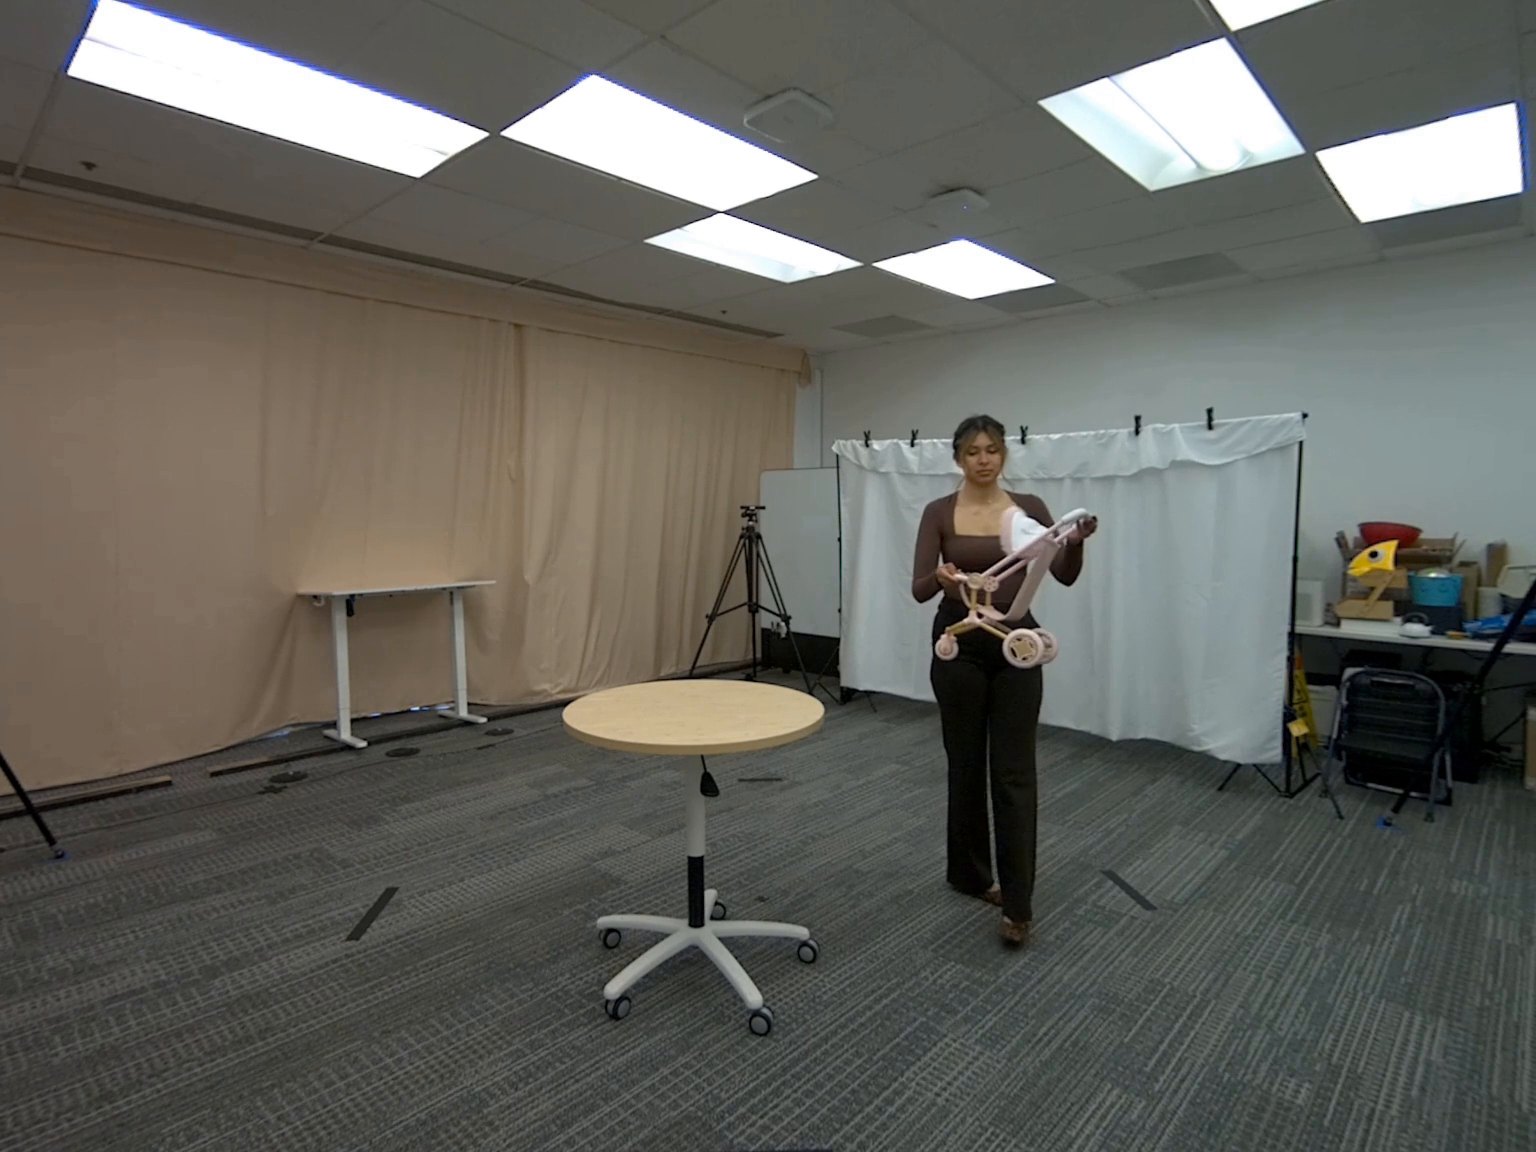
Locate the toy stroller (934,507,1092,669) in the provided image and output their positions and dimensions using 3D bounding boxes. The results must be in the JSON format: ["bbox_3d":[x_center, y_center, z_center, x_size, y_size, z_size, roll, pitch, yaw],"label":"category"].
[{"bbox_3d":[0.722,0.035,2.530,0.353,0.534,0.273,15,5,32],"label":"toy stroller"}]
